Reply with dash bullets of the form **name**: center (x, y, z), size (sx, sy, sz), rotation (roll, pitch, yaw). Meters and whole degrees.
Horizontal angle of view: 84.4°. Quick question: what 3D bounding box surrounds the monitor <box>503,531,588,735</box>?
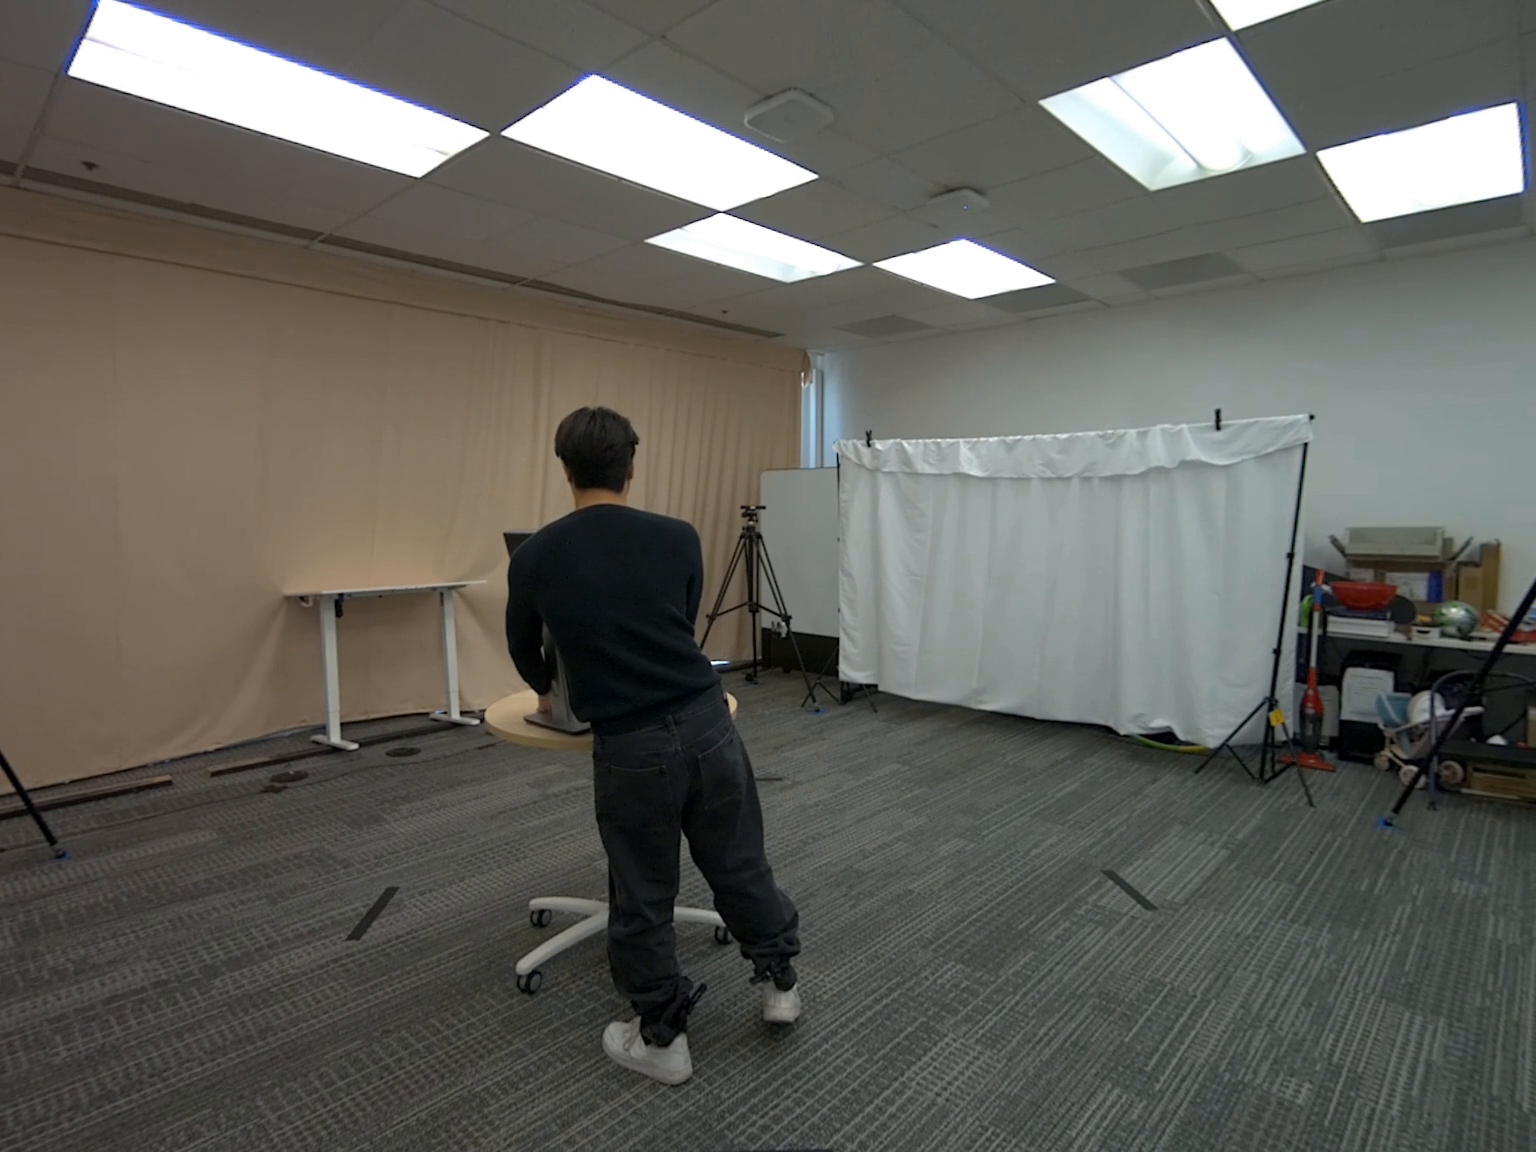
- **monitor**: center (-0.557, 0.139, 2.370), size (0.556, 0.521, 0.182), rotation (2, 5, 38)
